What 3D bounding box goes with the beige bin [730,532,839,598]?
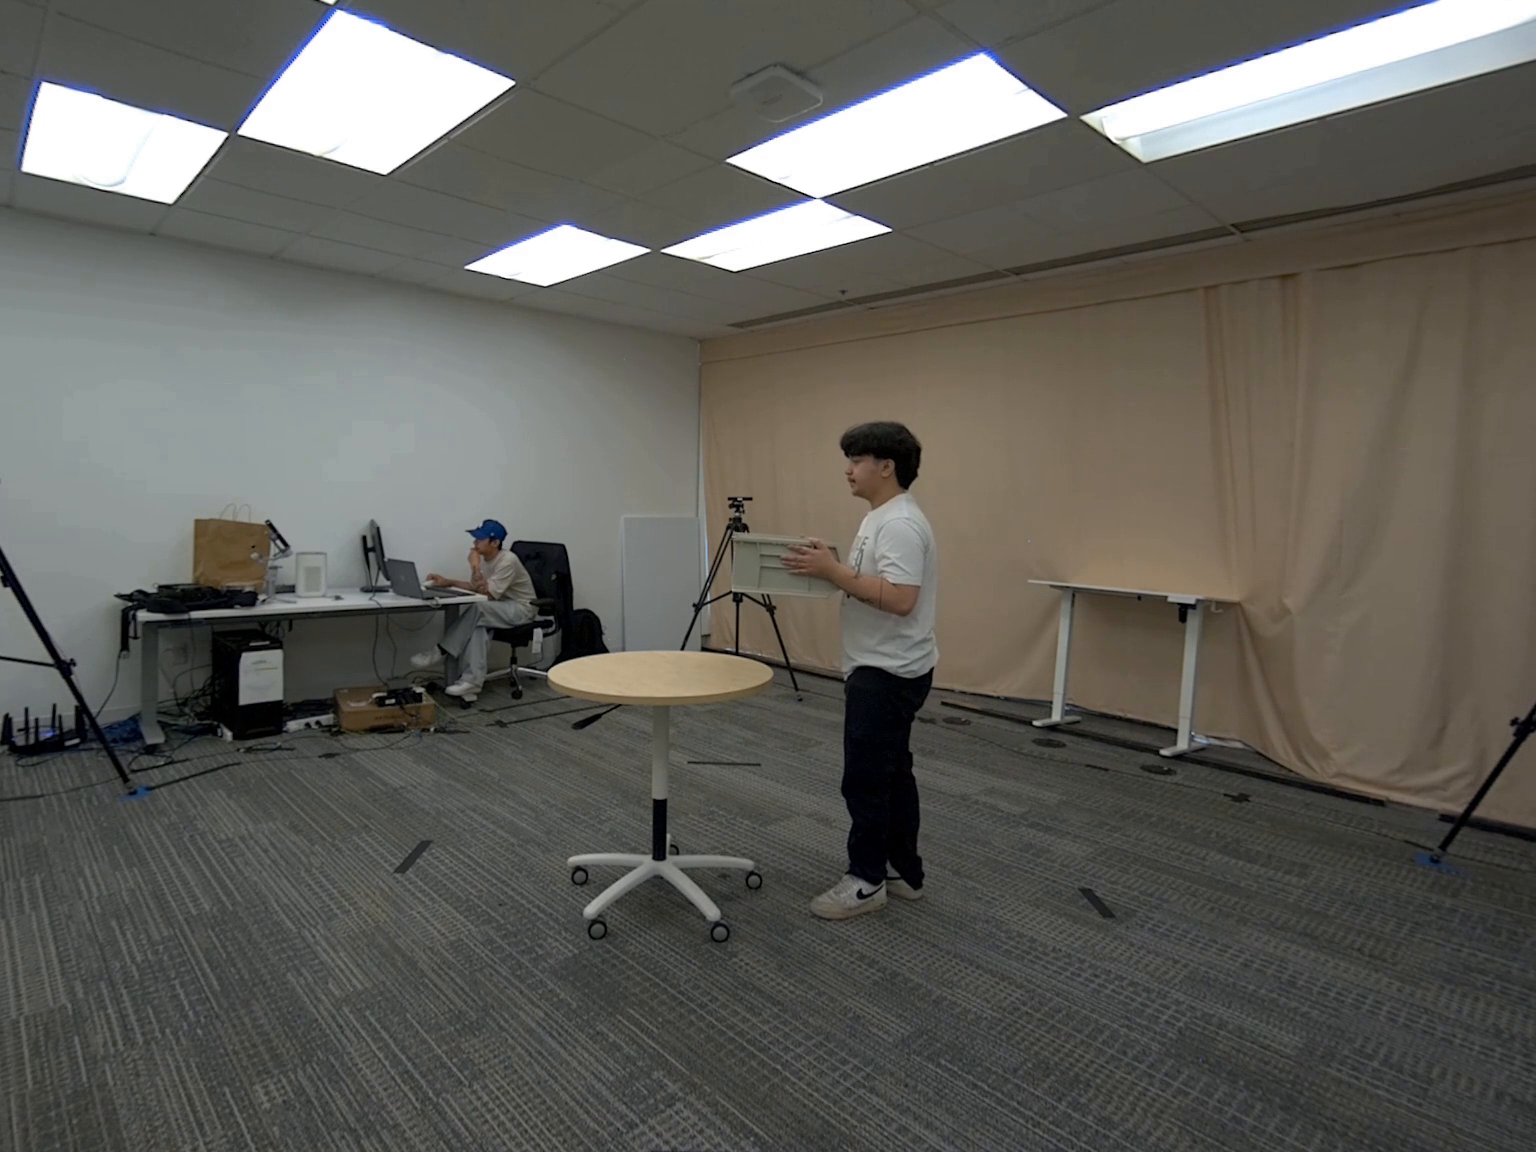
[{"bbox_3d":[0.054,-0.038,2.914,0.377,0.188,0.424,1,5,-2],"label":"beige bin"}]
